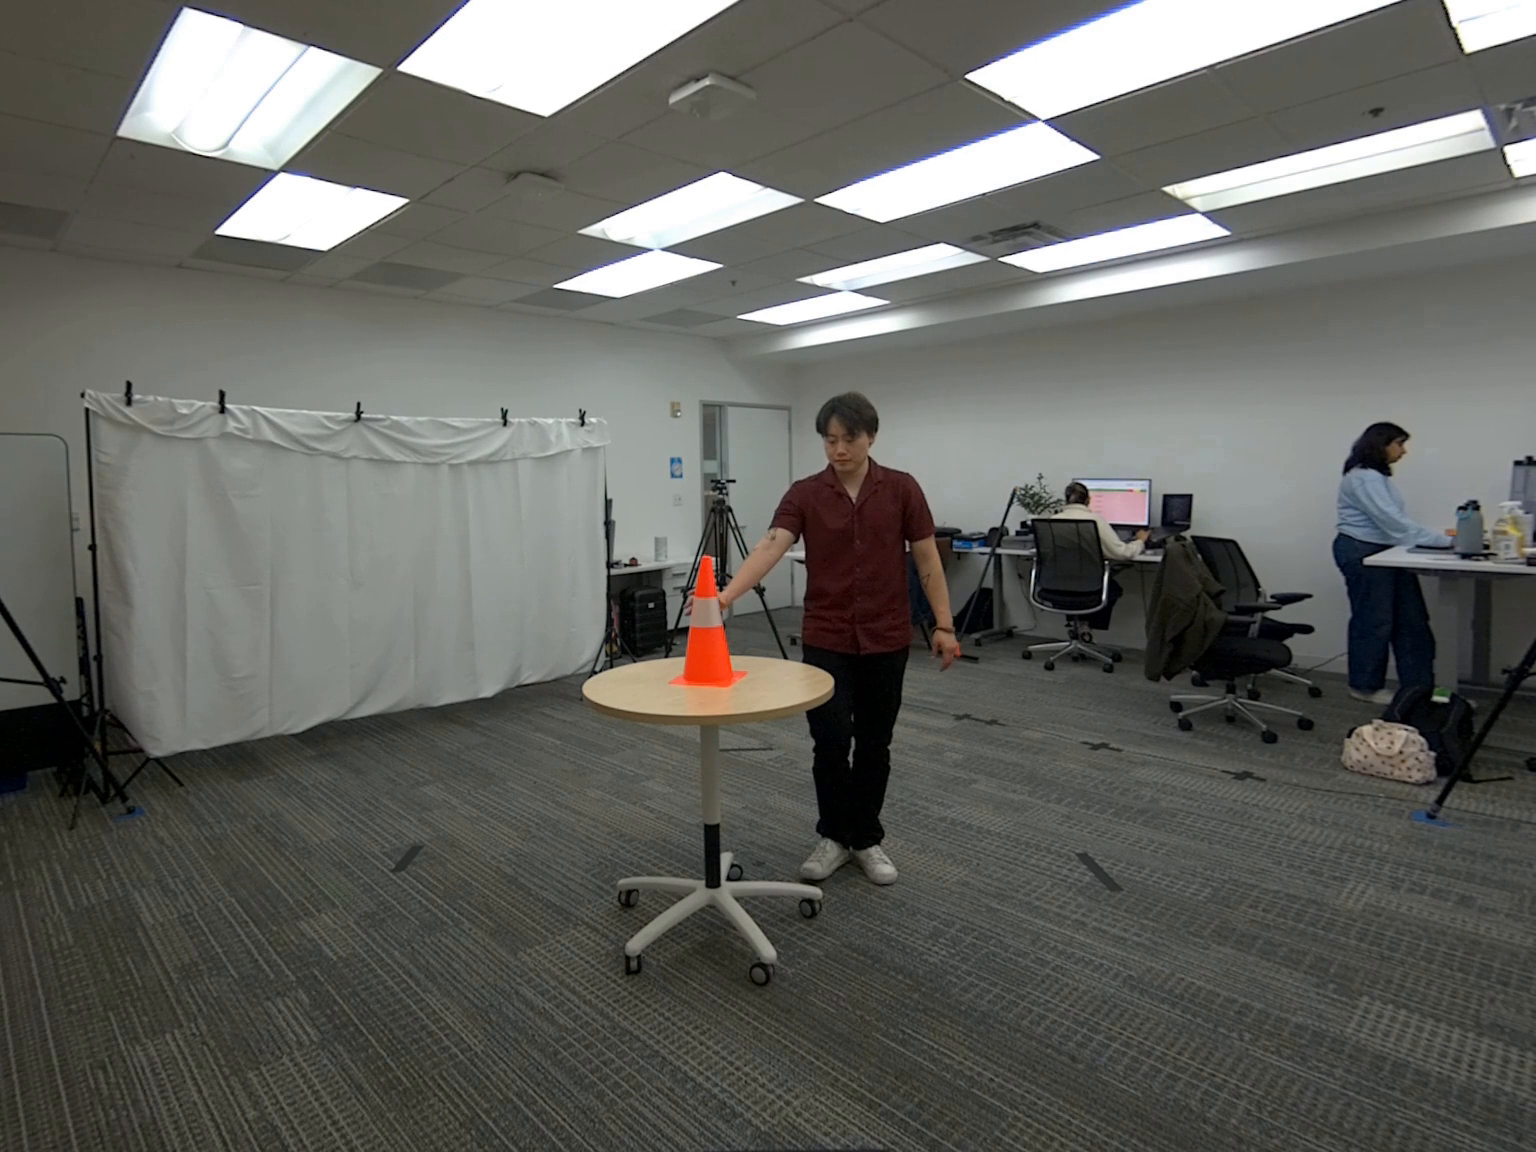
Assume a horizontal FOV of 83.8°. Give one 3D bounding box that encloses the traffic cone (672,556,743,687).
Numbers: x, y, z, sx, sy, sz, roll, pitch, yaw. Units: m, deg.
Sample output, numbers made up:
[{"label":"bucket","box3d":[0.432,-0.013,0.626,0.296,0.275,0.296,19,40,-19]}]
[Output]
[{"label":"traffic cone","box3d":[-0.190,0.131,2.642,0.207,0.382,0.202,0,4,20]}]
